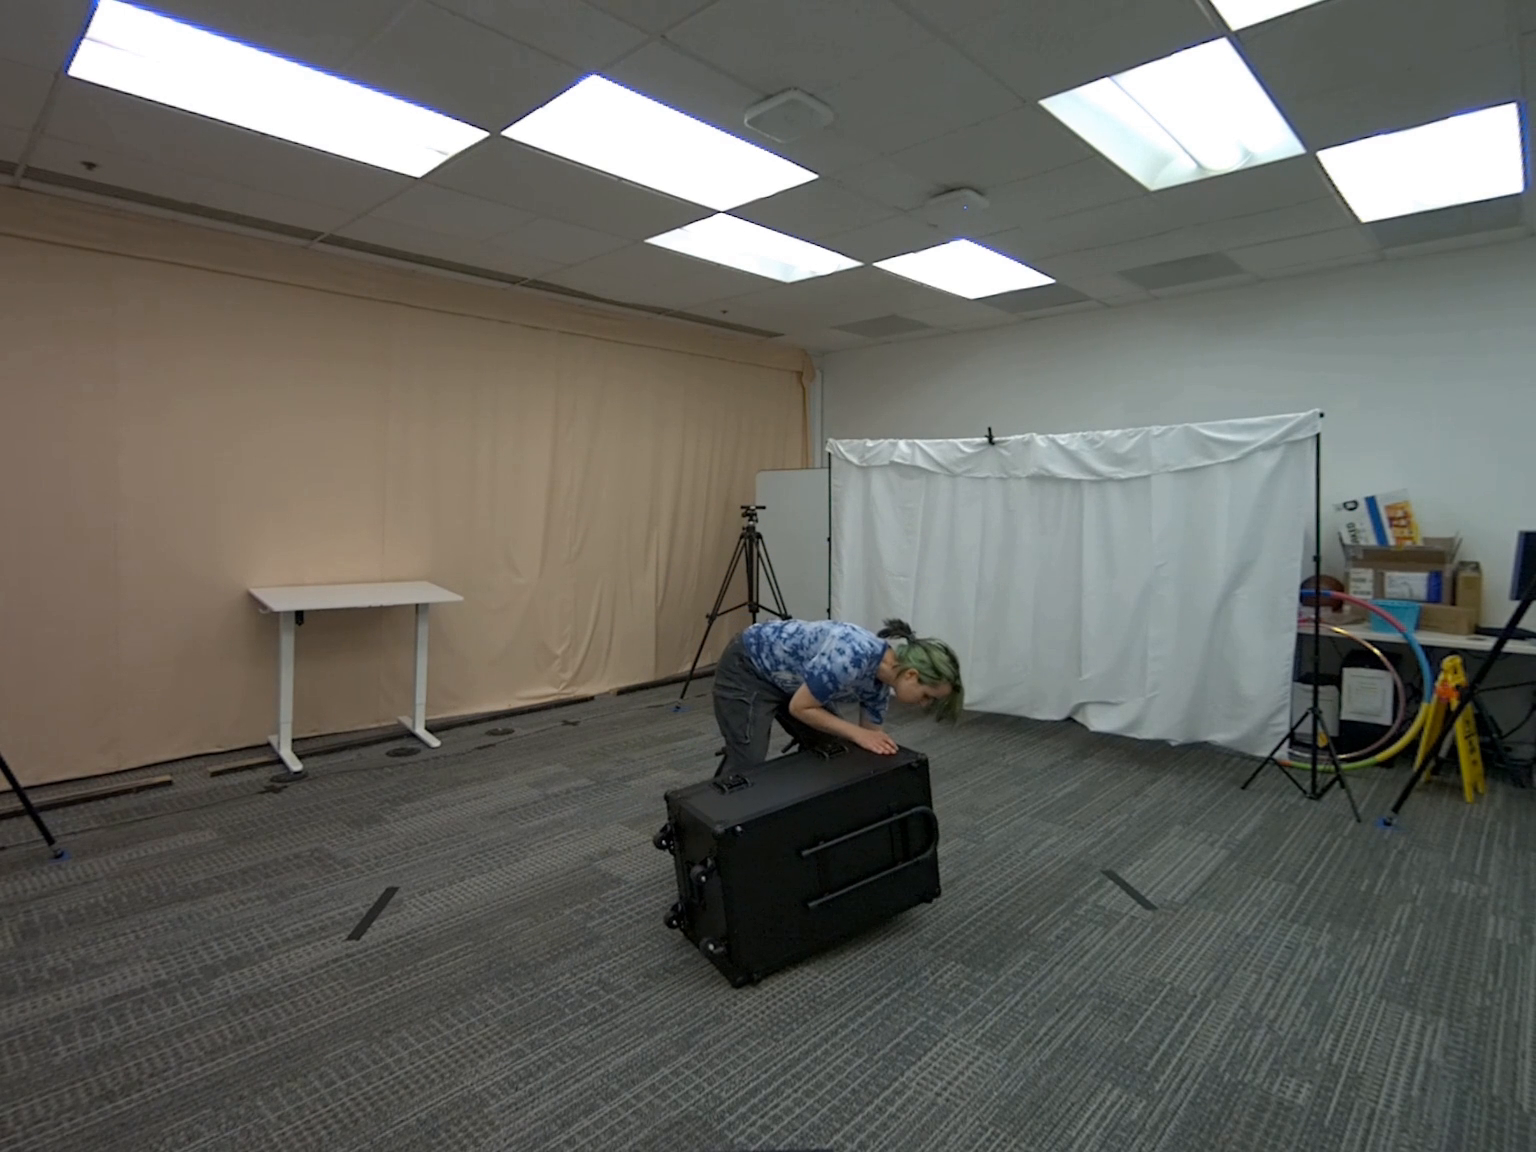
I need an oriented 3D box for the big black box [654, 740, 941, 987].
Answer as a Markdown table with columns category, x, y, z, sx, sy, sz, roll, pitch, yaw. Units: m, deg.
| category | x | y | z | sx | sy | sz | roll | pitch | yaw |
| --- | --- | --- | --- | --- | --- | --- | --- | --- | --- |
| big black box | 0.103 | 0.876 | 2.691 | 0.843 | 0.519 | 0.407 | -11 | 8 | -26 |
